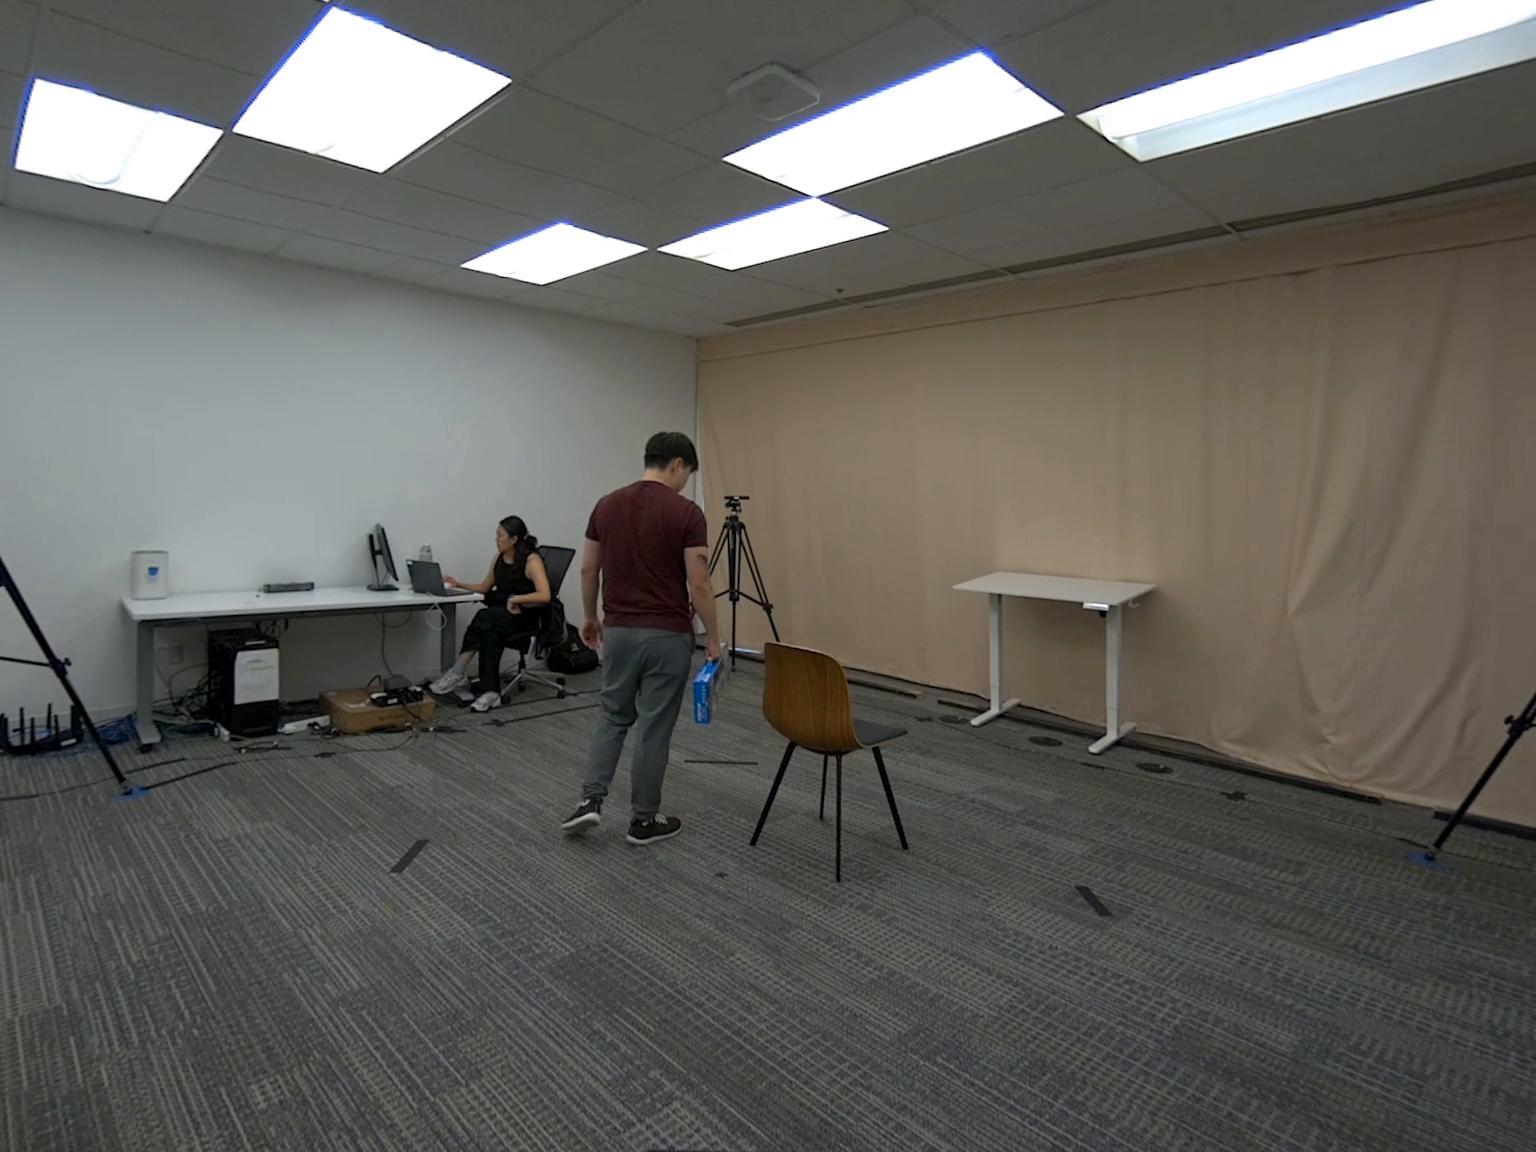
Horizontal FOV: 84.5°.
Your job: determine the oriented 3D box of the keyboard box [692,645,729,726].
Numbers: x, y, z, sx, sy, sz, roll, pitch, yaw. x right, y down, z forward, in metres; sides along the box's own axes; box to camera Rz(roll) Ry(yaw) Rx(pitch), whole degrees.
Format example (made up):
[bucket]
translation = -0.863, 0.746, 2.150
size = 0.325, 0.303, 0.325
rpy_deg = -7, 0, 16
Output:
[keyboard box]
translation = -0.233, 0.421, 3.405
size = 0.059, 0.174, 0.438
rpy_deg = 0, 15, 8
